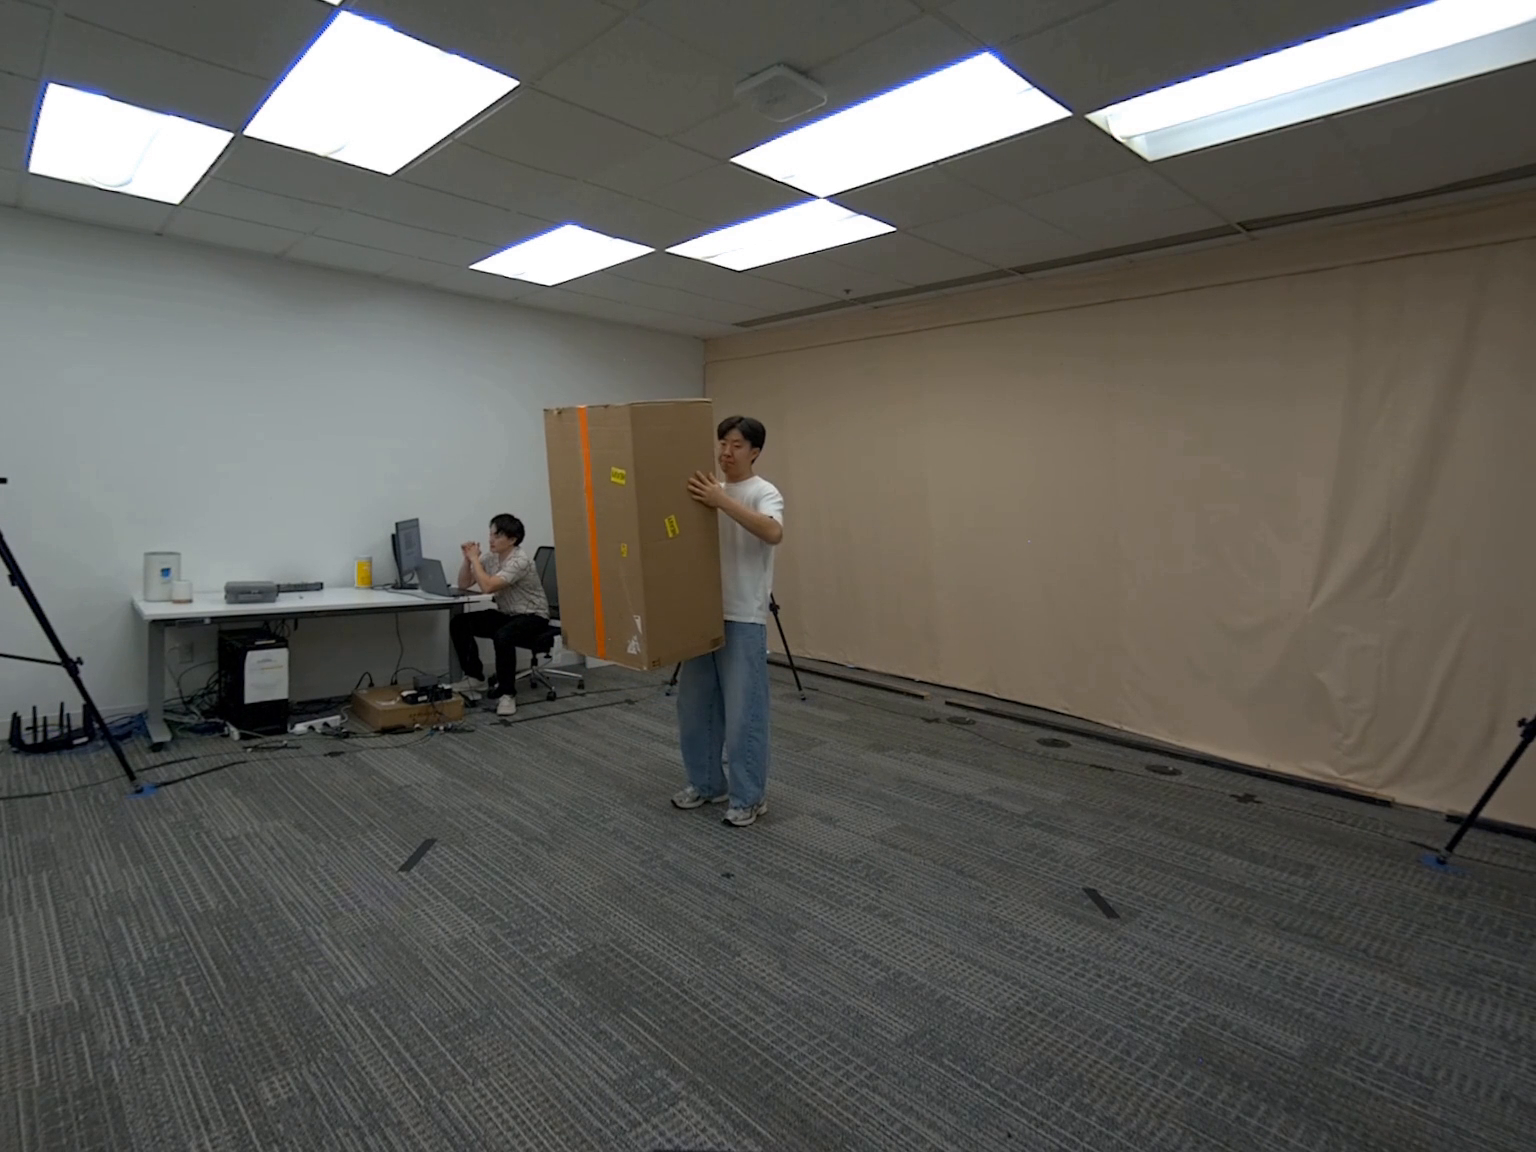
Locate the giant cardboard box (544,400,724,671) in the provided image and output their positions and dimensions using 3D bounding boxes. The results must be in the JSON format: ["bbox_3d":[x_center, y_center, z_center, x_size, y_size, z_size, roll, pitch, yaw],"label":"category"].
[{"bbox_3d":[-0.557,-0.194,3.471,0.593,1.018,0.418,7,13,43],"label":"giant cardboard box"}]
